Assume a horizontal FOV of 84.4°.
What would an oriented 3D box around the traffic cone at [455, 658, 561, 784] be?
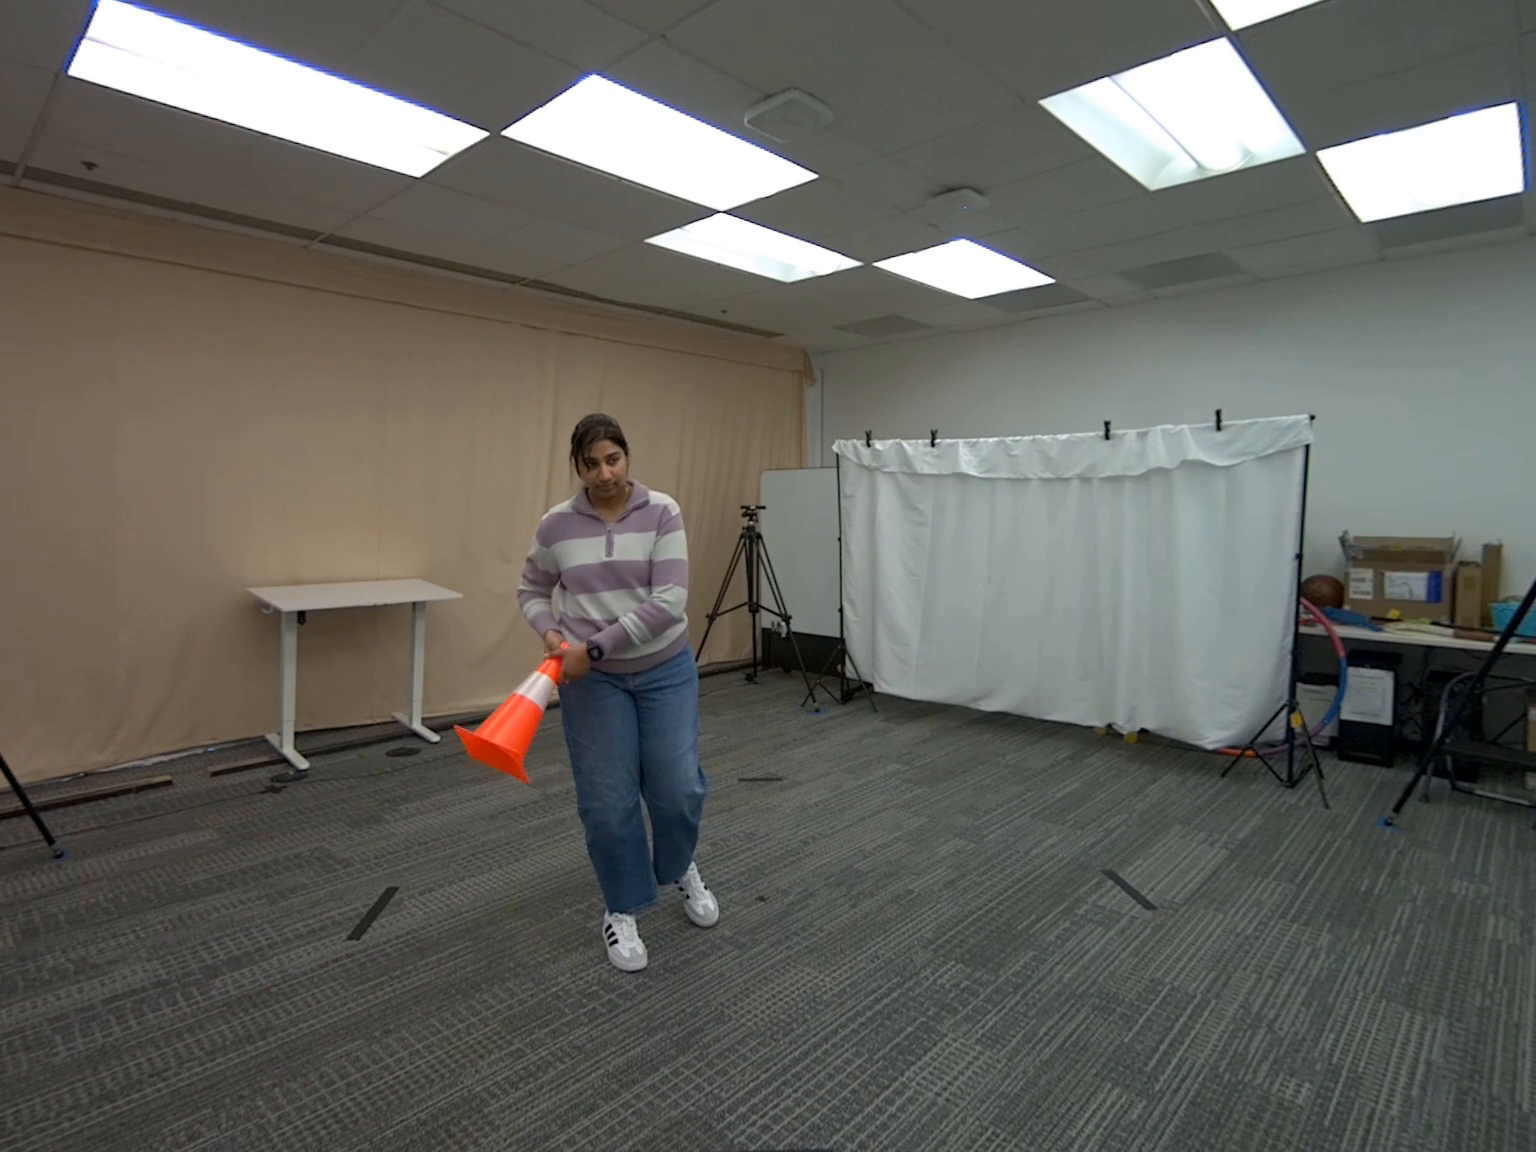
[{"bbox_3d":[-0.649,0.339,2.354,0.210,0.384,0.198,15,-35,19],"label":"traffic cone"}]
